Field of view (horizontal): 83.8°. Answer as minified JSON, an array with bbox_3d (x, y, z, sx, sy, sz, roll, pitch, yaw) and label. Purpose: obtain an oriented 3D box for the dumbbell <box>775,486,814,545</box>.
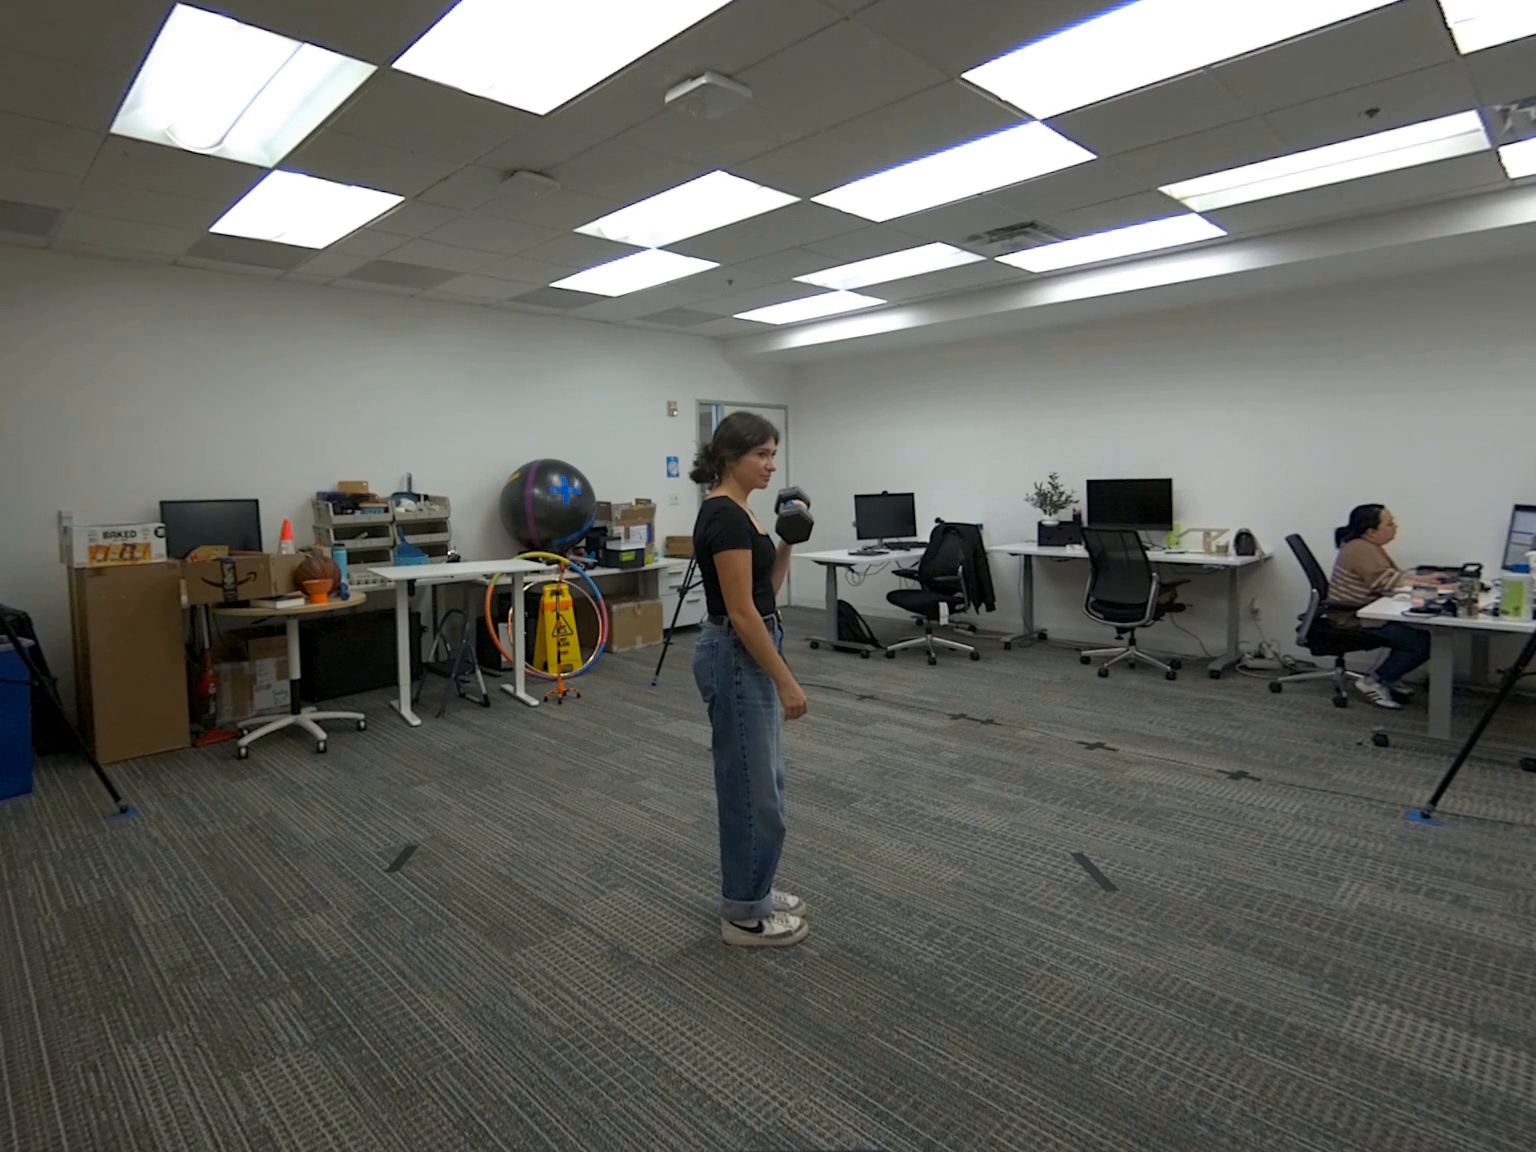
[{"bbox_3d":[0.088,-0.193,2.722,0.108,0.122,0.299,16,18,-8],"label":"dumbbell"}]
